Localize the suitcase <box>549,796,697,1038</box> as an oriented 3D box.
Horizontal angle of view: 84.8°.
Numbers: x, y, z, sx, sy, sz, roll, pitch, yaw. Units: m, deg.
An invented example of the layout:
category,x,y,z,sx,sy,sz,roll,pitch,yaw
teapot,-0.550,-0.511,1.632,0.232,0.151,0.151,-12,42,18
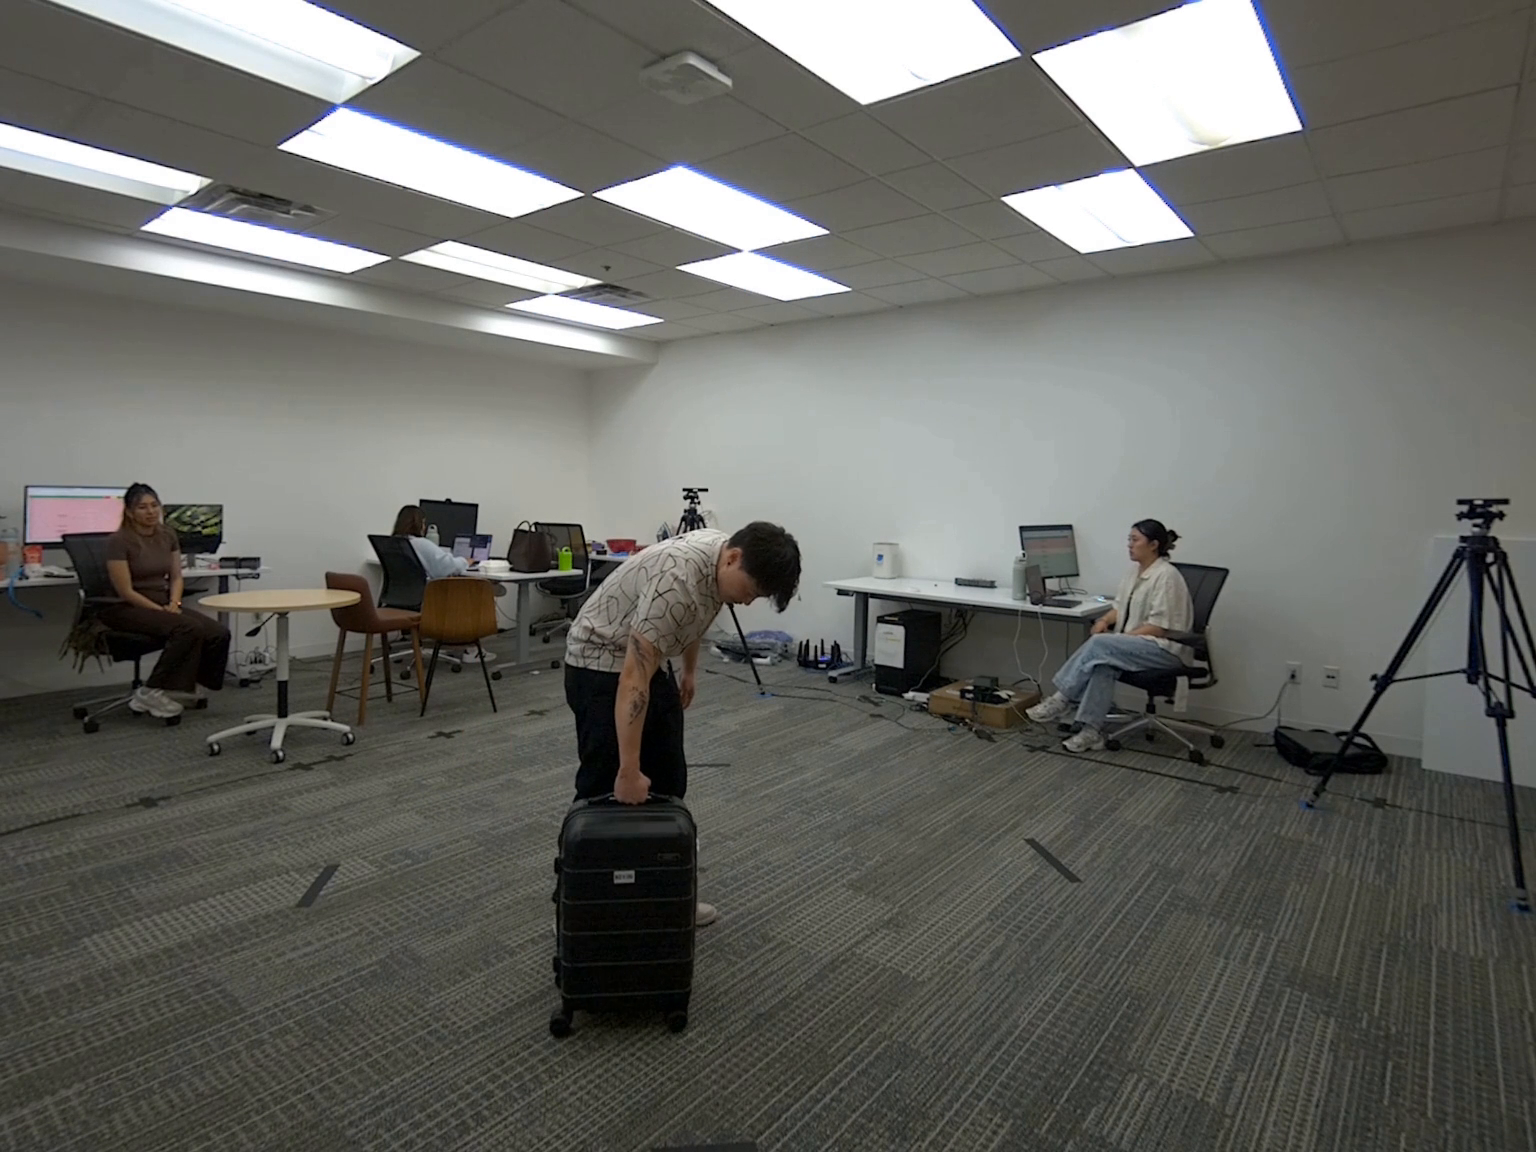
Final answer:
category,x,y,z,sx,sy,sz,roll,pitch,yaw
suitcase,-0.380,0.872,2.269,0.372,0.548,0.251,2,4,-8
